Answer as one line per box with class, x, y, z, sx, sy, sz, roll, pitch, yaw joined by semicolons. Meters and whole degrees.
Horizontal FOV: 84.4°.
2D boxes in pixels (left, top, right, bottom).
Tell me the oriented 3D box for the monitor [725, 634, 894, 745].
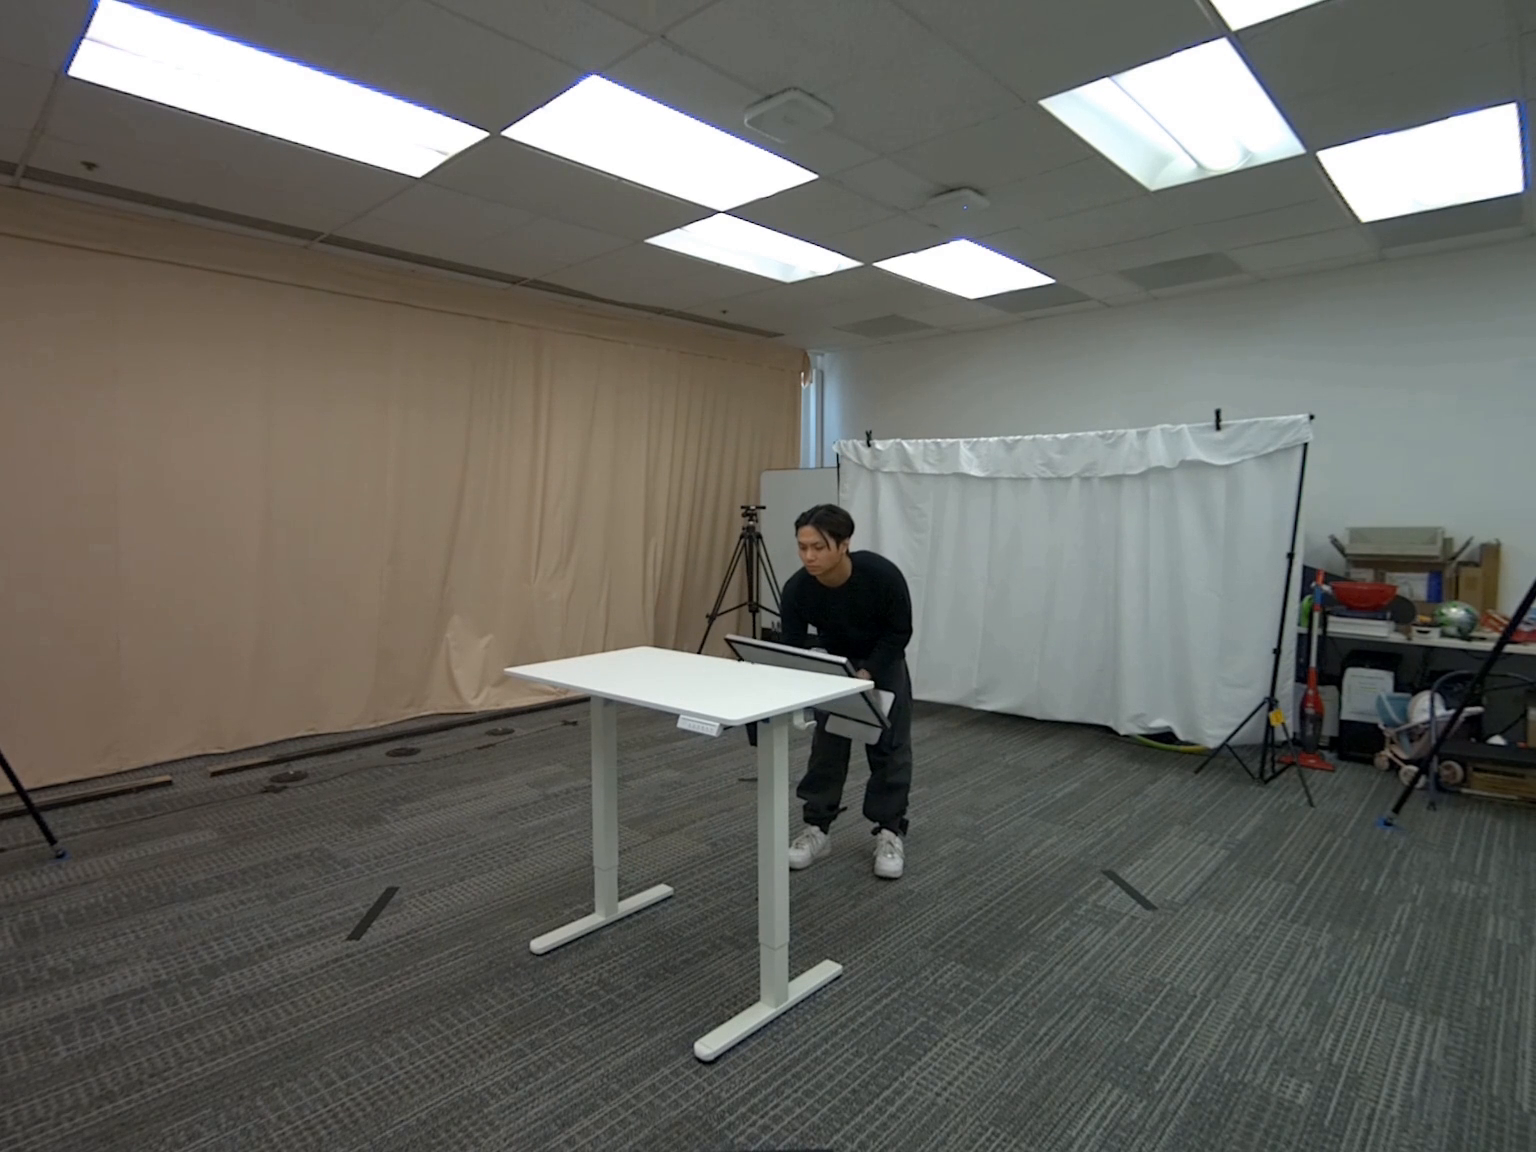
monitor;0.181;0.378;3.021;0.548;0.175;0.497;7;-21;44
